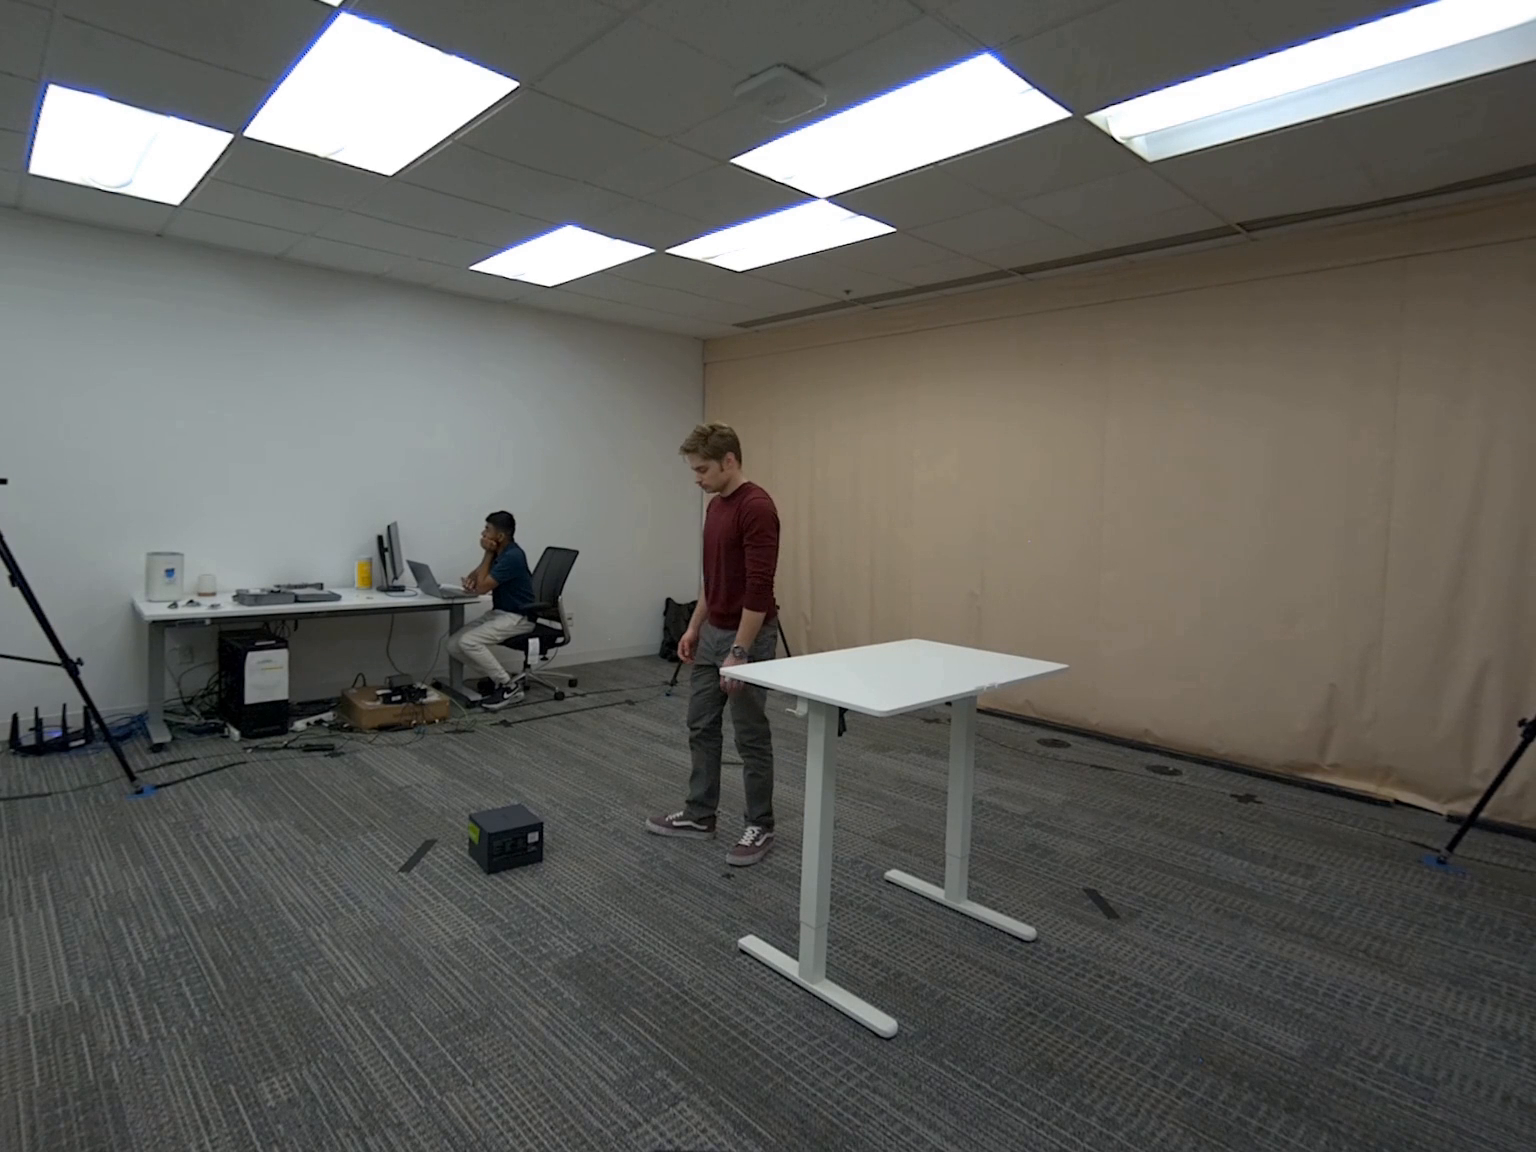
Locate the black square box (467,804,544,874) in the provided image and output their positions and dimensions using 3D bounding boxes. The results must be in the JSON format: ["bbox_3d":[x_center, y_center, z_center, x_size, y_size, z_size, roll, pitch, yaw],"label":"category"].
[{"bbox_3d":[-1.008,0.995,3.210,0.212,0.155,0.233,-2,6,-37],"label":"black square box"}]
